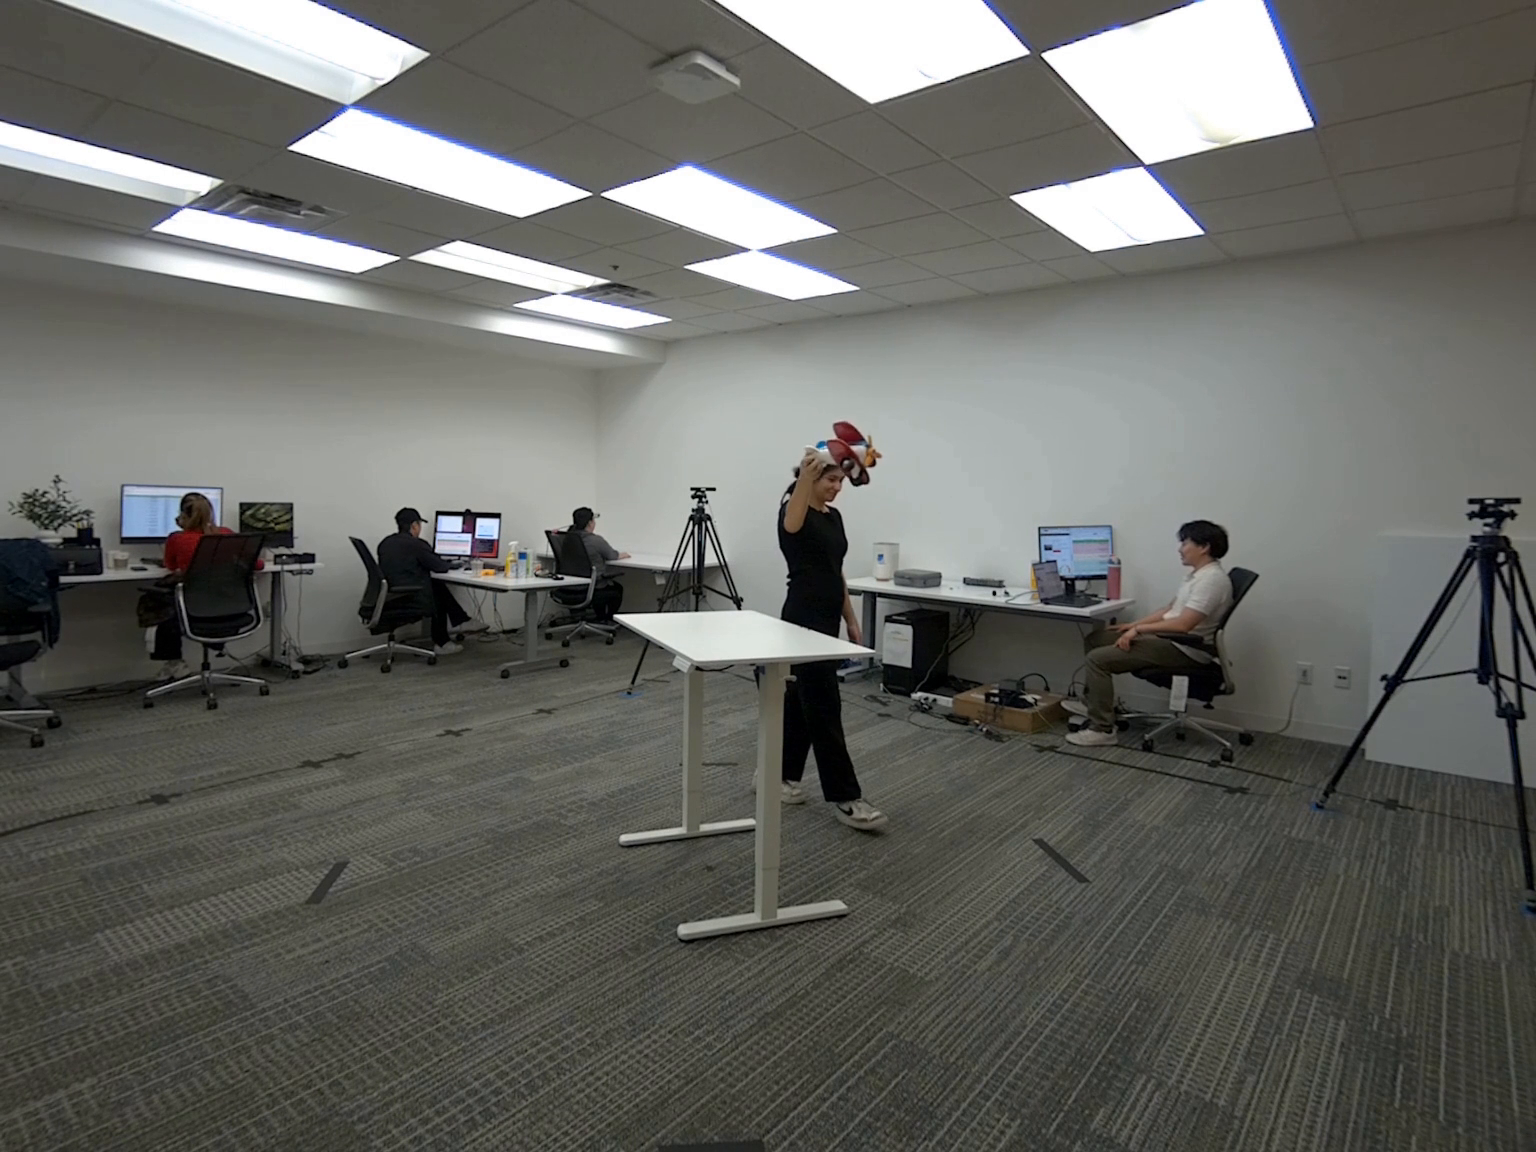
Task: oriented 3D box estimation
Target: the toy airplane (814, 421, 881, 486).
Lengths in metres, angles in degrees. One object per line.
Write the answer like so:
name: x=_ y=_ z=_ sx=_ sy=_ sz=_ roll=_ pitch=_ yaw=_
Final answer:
toy airplane: x=0.247 y=-0.433 z=3.021 sx=0.266 sy=0.157 sz=0.244 roll=30 pitch=-16 yaw=18
